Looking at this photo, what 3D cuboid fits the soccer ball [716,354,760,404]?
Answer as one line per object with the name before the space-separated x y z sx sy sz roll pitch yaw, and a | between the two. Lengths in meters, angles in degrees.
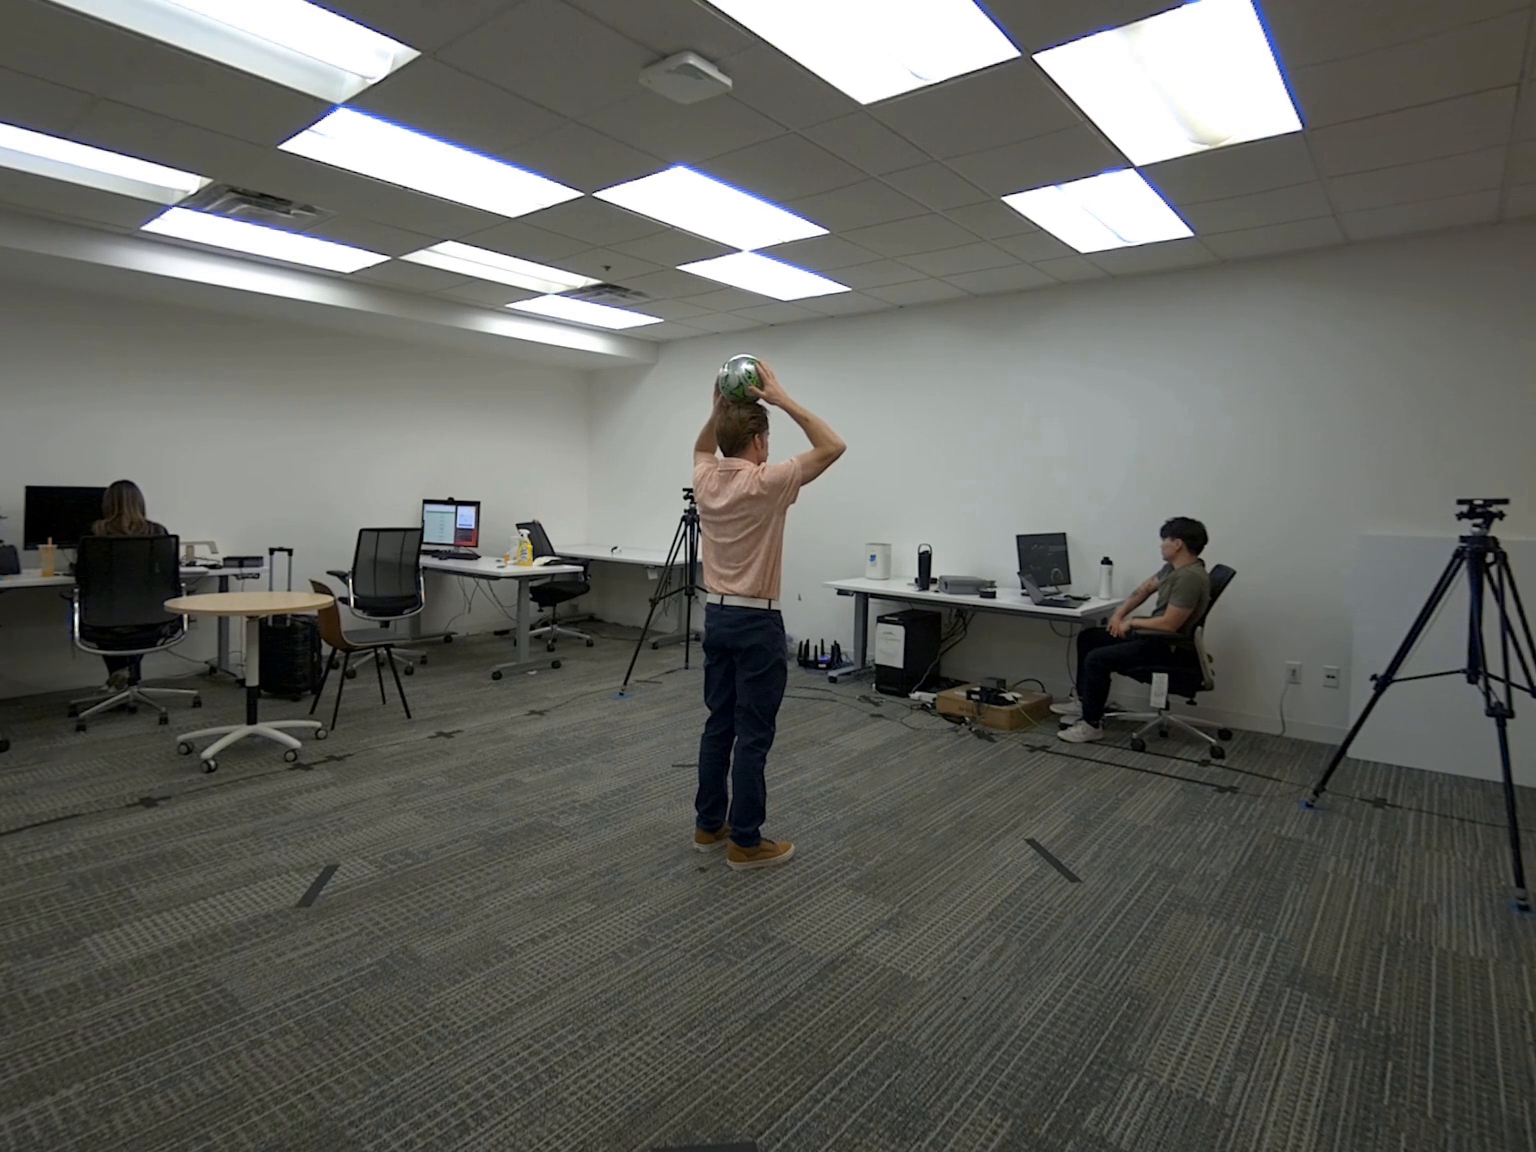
soccer ball | -0.109 -0.730 3.185 0.187 0.187 0.188 1 4 -2
